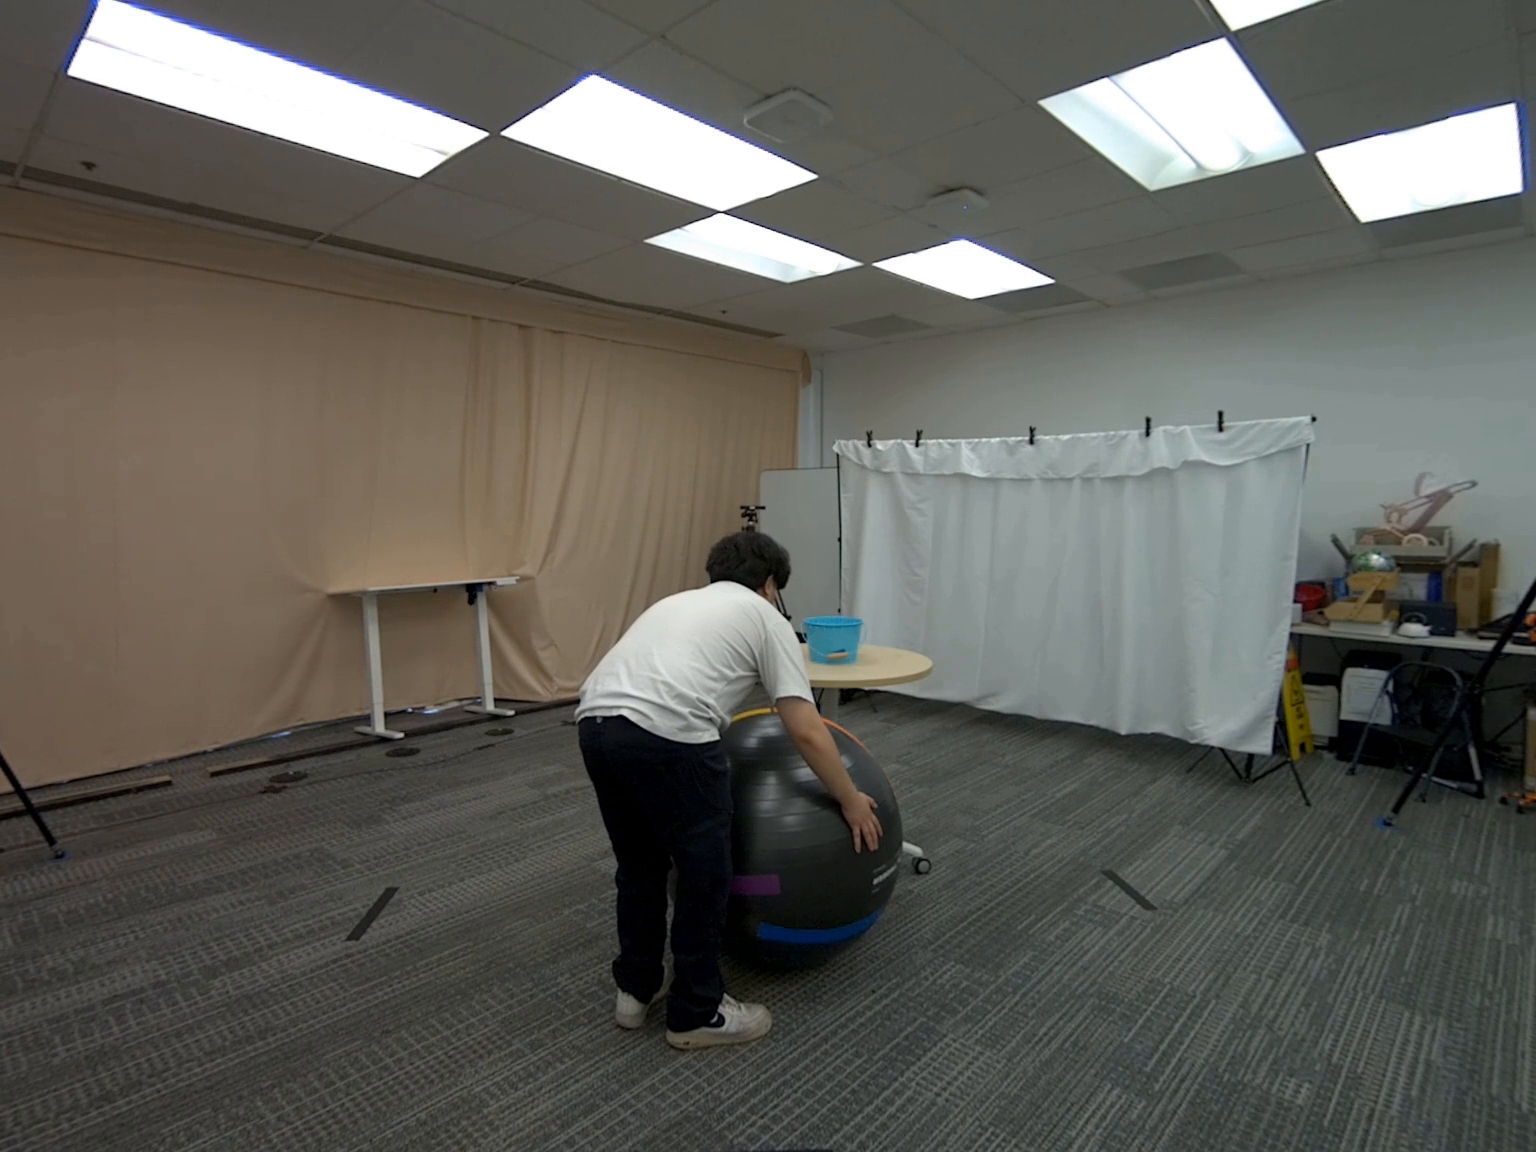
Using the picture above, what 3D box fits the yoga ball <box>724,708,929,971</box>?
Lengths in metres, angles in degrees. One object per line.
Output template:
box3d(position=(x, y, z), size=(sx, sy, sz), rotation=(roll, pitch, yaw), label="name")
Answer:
box3d(position=(0.039, 0.807, 2.622), size=(0.757, 0.756, 0.760), rotation=(0, 4, -2), label="yoga ball")
